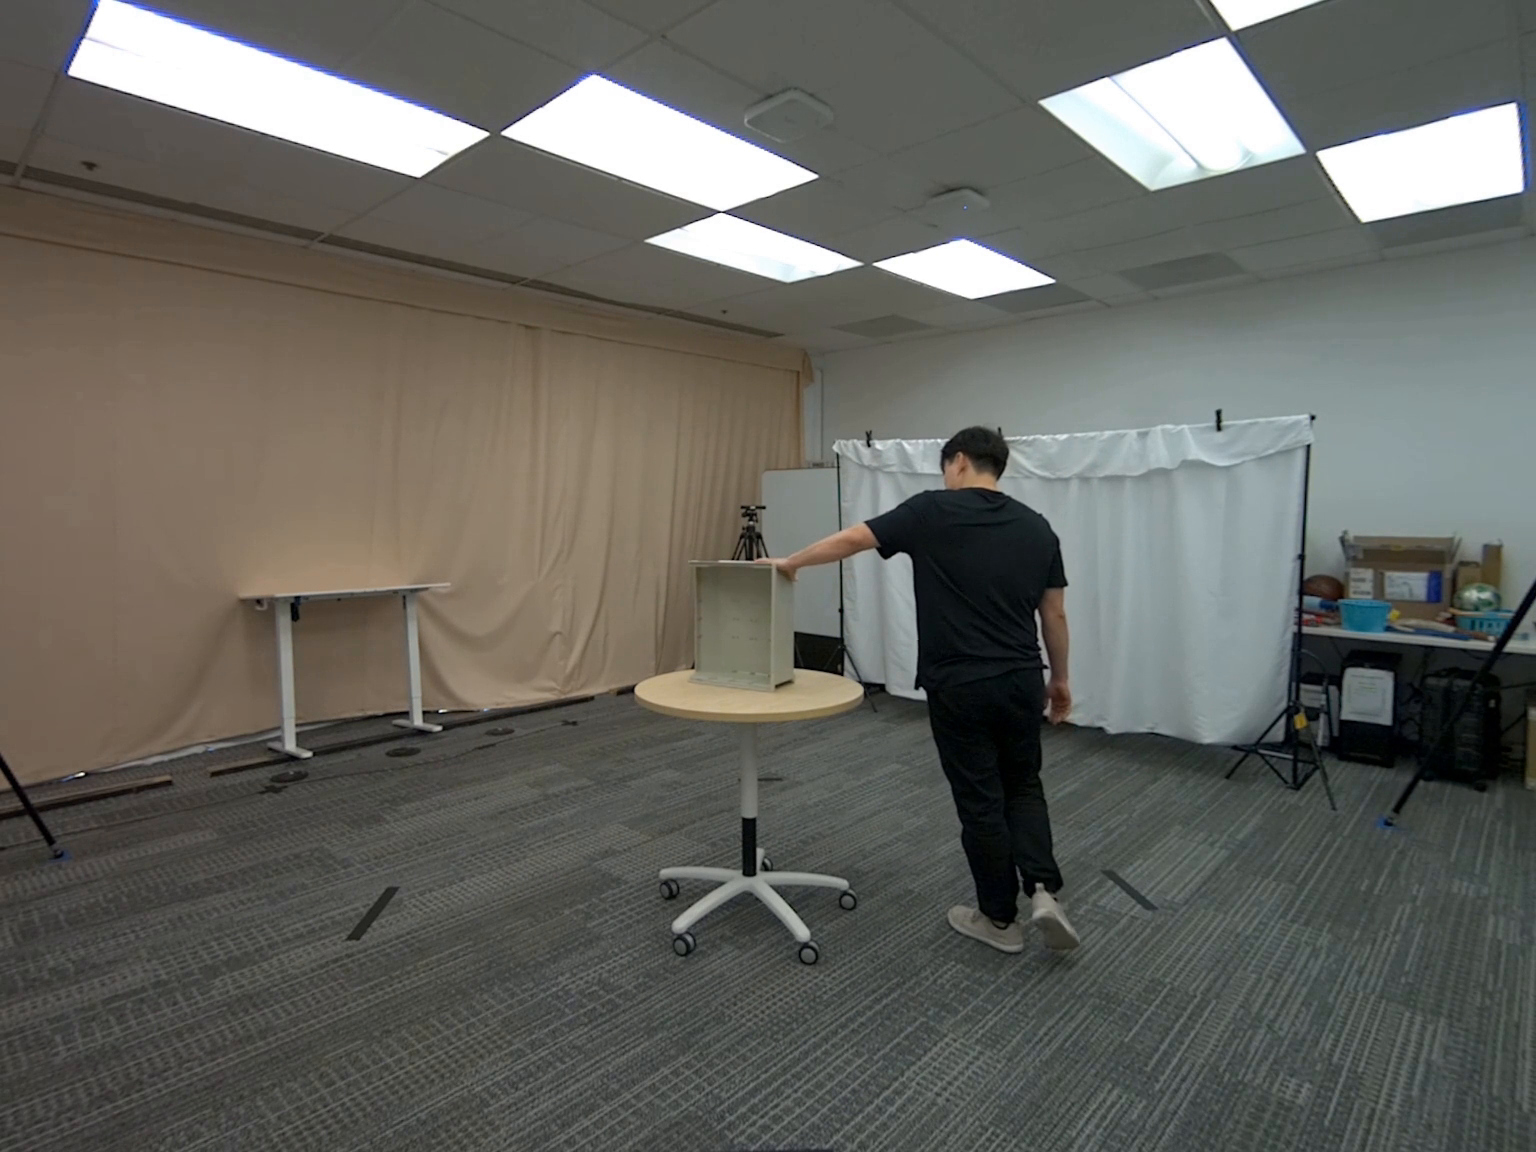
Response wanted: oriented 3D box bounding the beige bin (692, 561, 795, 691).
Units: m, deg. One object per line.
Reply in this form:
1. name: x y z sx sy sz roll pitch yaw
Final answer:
1. beige bin: -0.097 0.160 2.913 0.388 0.422 0.183 1 1 31
